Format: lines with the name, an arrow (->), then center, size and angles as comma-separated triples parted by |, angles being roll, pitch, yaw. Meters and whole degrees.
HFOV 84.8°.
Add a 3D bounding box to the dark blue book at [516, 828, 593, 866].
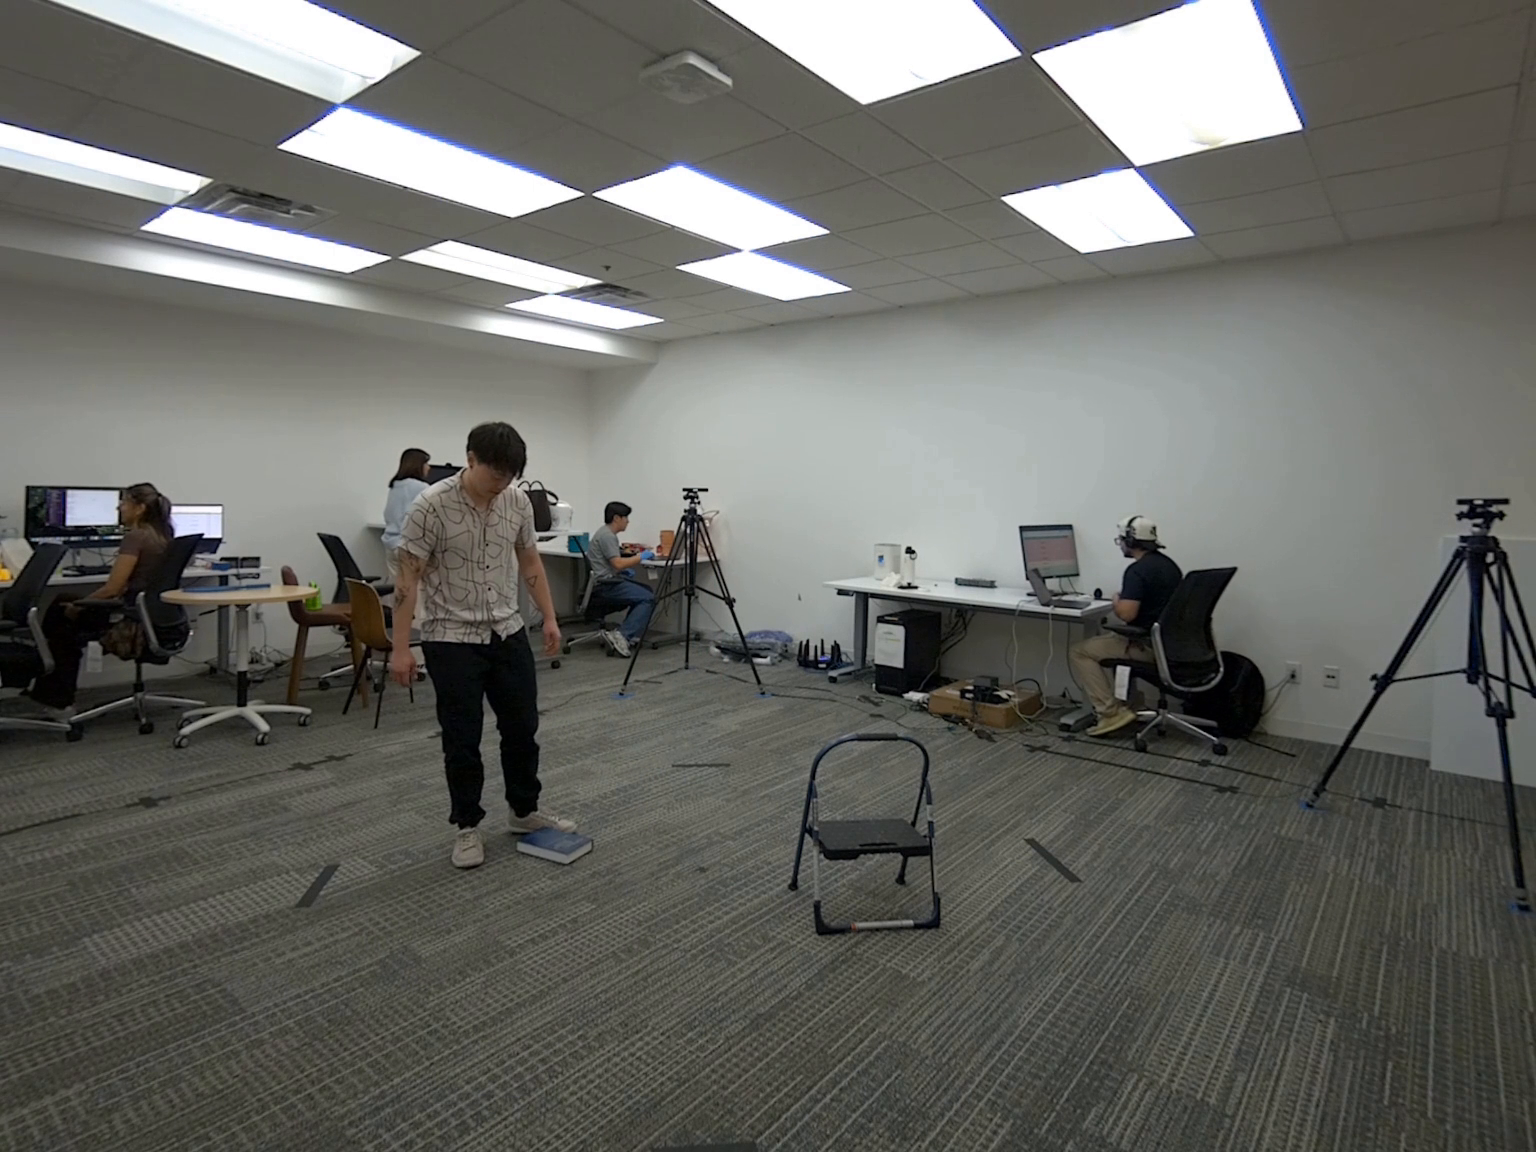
dark blue book -> -0.826, 1.023, 3.236 | 0.252, 0.045, 0.160 | 4, 6, 26
